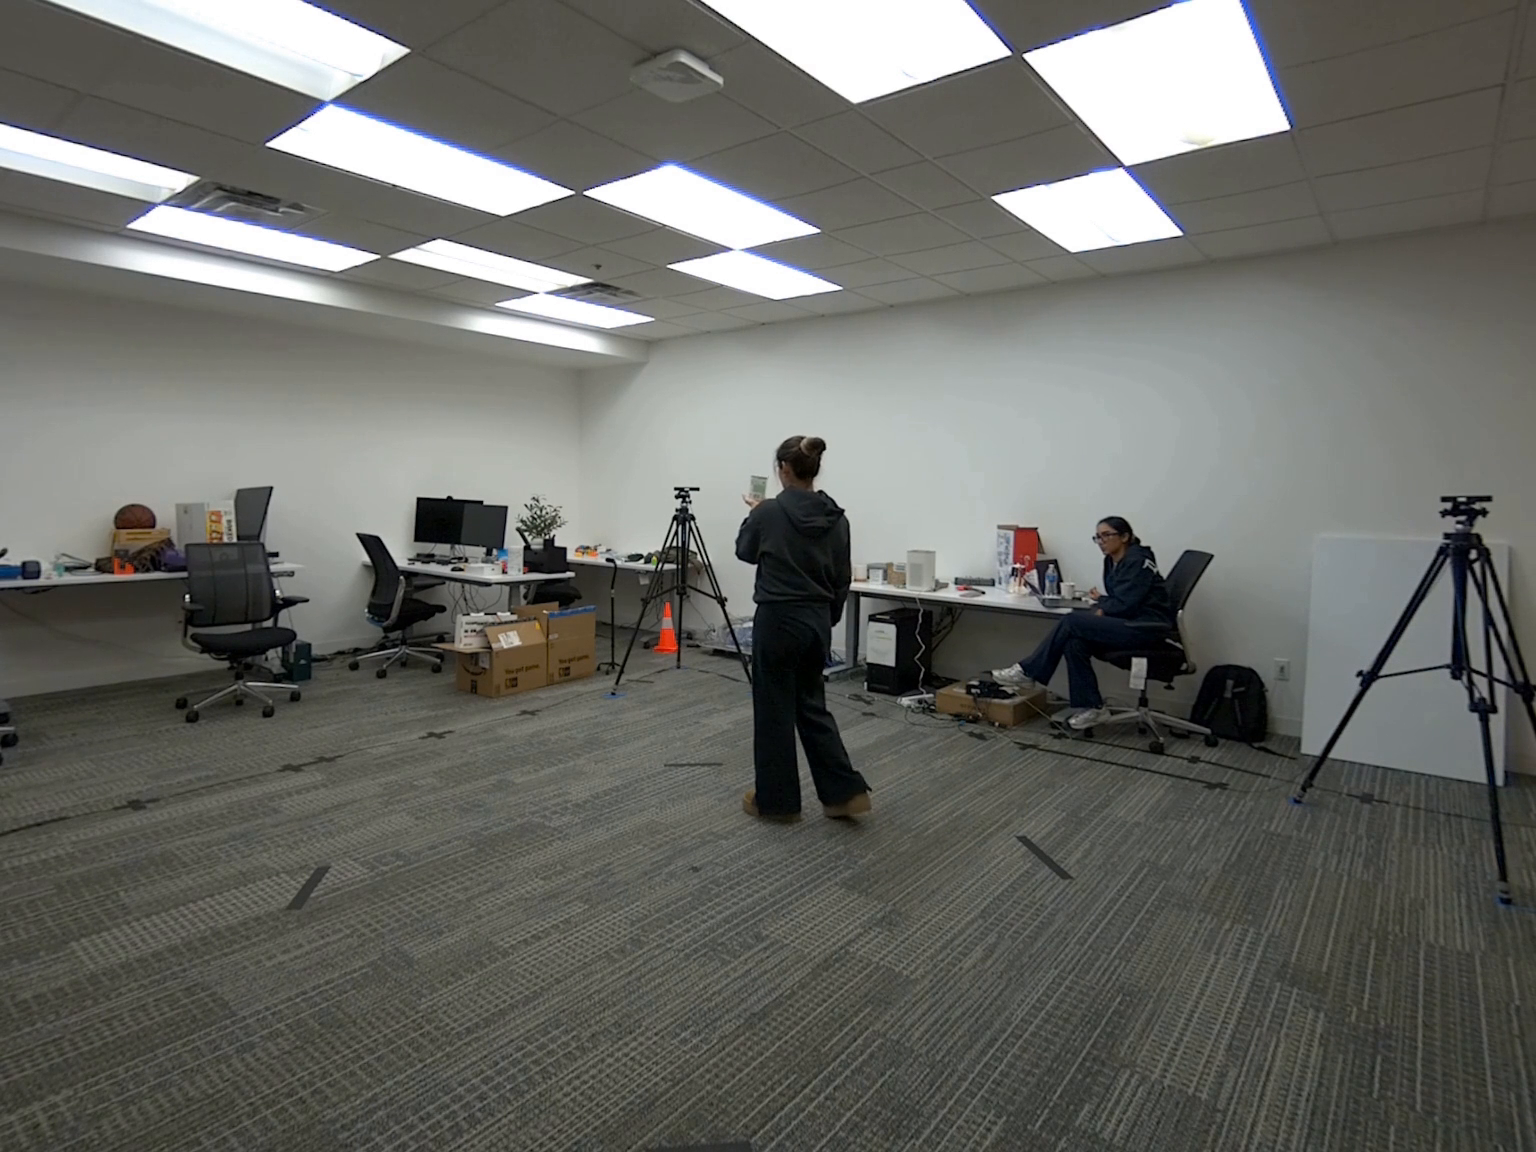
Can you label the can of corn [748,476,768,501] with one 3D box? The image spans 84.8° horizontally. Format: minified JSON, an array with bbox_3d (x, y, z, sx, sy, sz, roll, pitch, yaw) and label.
[{"bbox_3d":[-0.049,-0.395,3.852,0.074,0.110,0.075,7,7,-3],"label":"can of corn"}]
